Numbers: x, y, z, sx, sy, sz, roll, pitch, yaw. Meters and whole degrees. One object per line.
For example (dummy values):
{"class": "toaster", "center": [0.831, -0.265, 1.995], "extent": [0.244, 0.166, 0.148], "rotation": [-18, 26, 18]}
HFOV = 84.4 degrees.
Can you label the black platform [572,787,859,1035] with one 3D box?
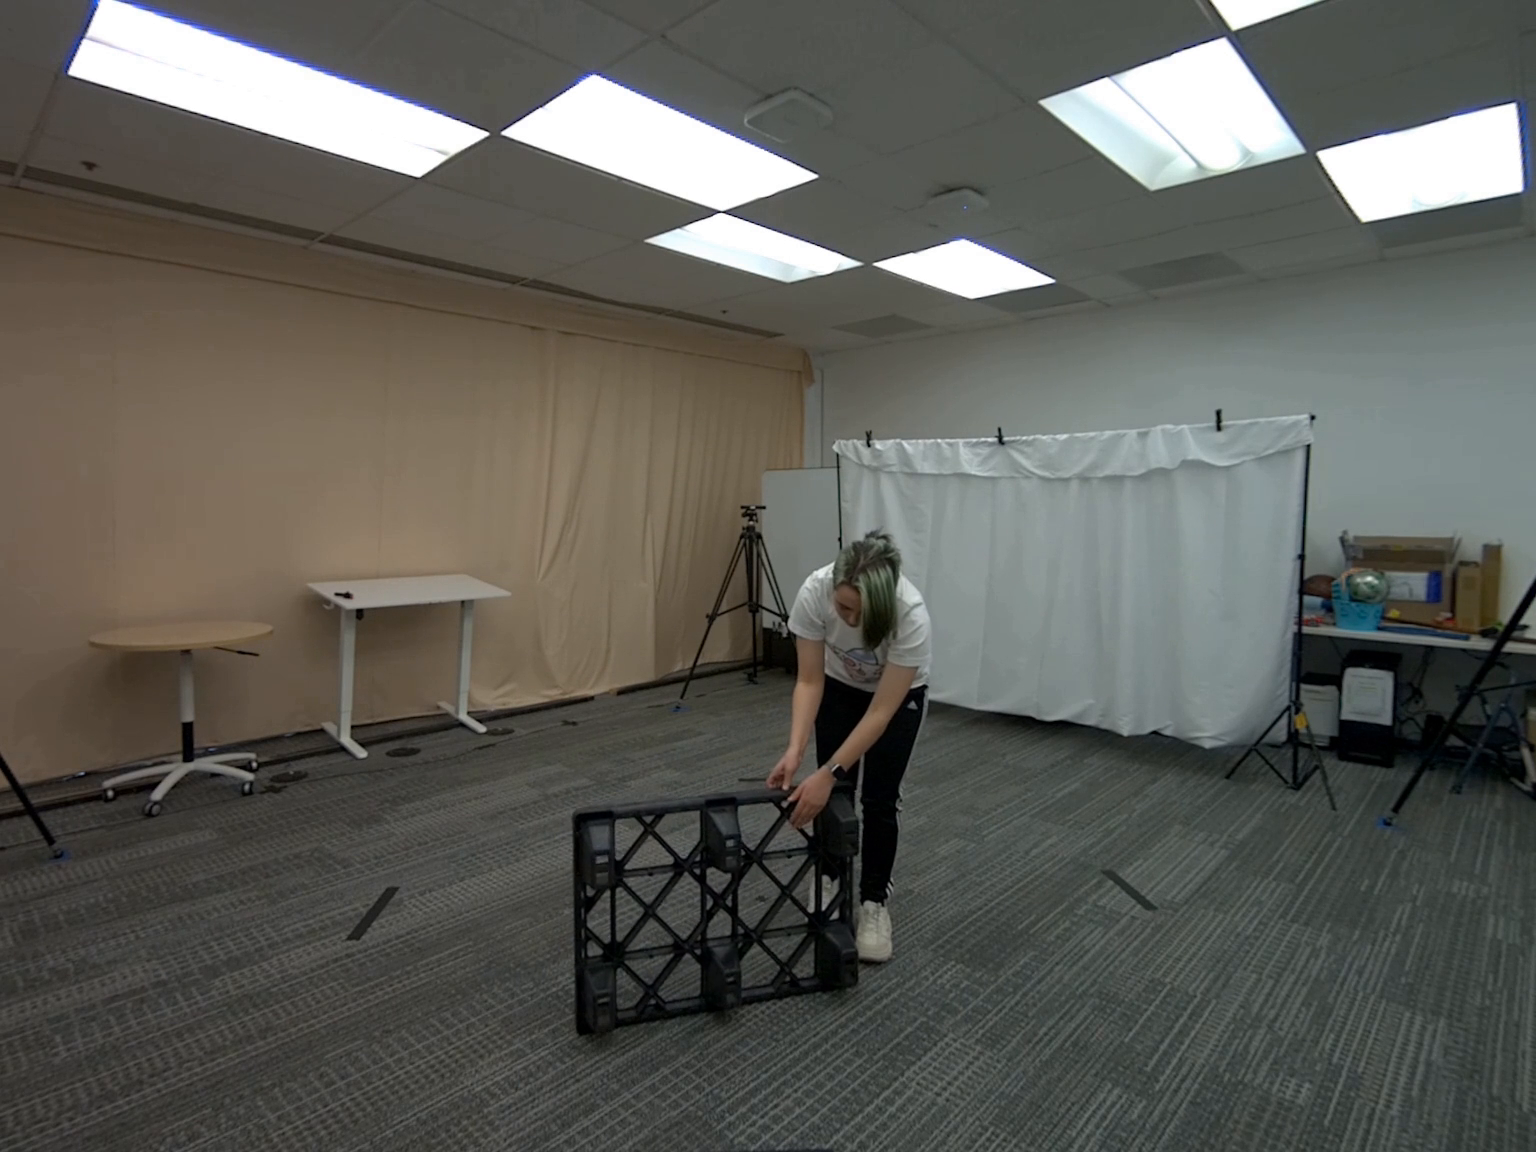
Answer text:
{"class": "black platform", "center": [-0.121, 0.911, 2.273], "extent": [0.792, 0.604, 0.146], "rotation": [-2, 3, -16]}
